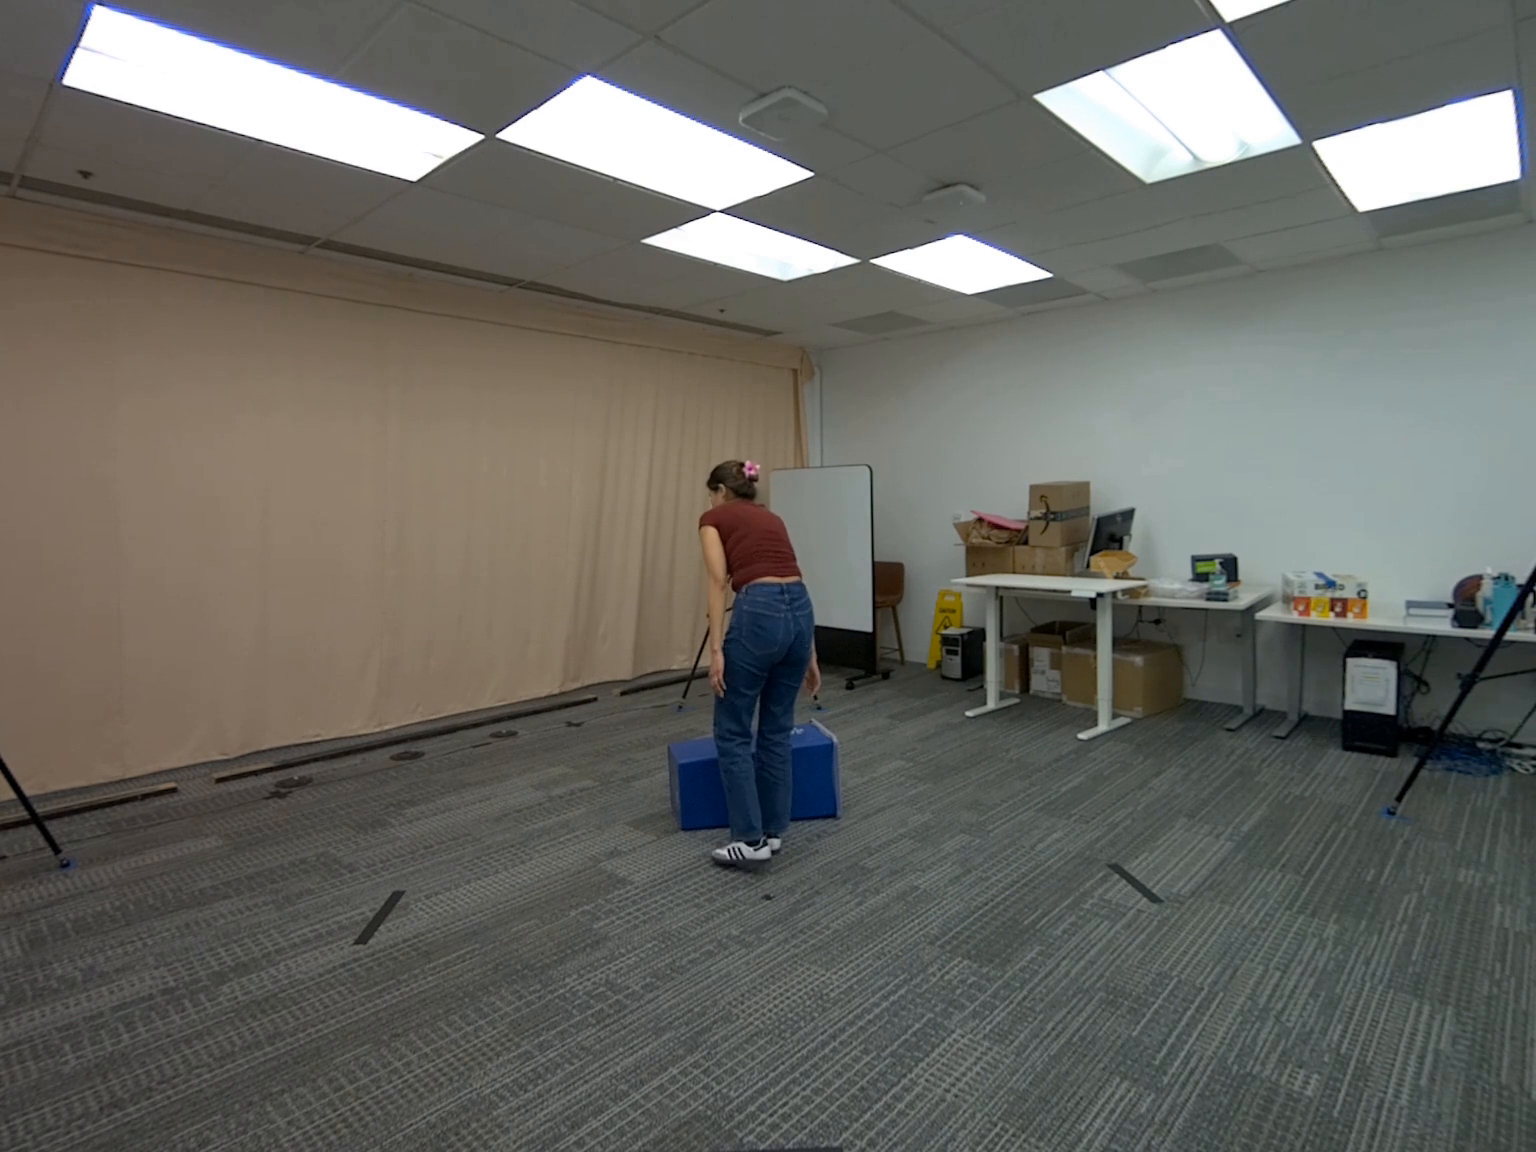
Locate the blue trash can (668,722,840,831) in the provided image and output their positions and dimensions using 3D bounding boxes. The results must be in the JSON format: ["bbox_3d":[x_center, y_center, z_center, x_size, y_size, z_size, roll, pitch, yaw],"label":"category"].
[{"bbox_3d":[-0.067,0.904,3.797,0.704,0.377,0.380,-4,5,-13],"label":"blue trash can"}]
